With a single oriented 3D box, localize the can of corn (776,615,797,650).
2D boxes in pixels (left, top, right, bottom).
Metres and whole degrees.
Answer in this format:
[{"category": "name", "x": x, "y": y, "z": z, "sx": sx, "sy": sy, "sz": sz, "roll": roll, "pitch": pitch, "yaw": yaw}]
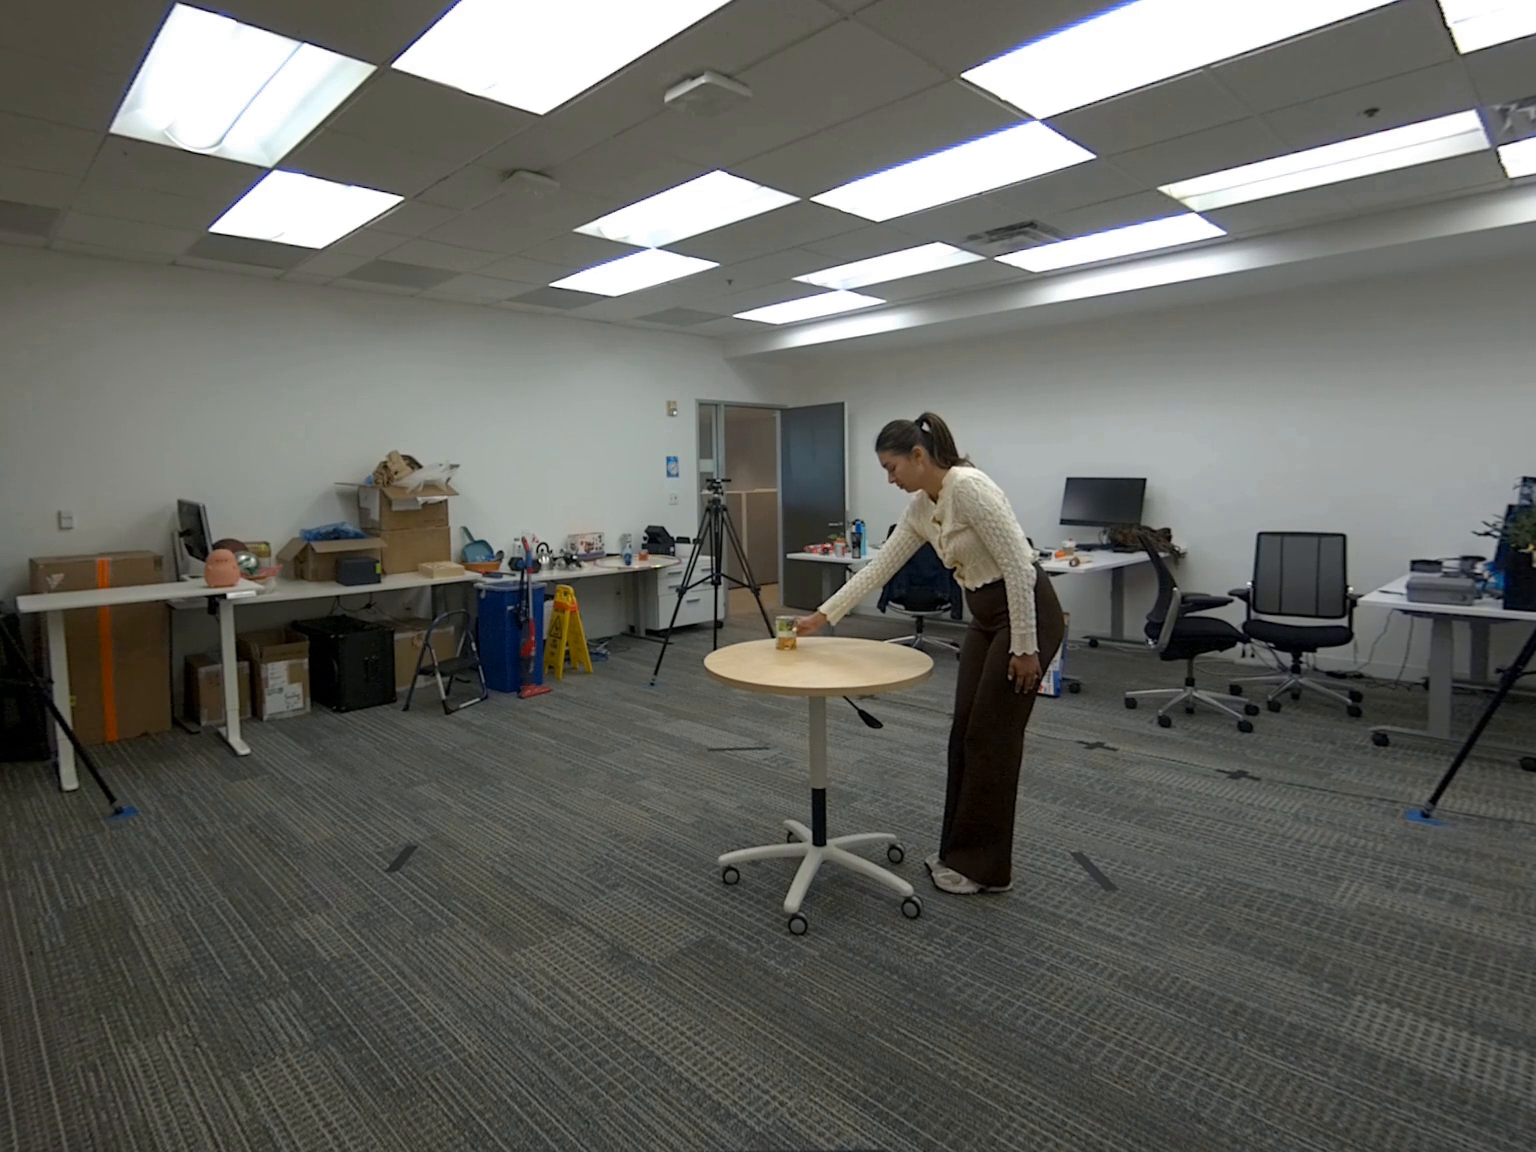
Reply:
[{"category": "can of corn", "x": 0.074, "y": 0.205, "z": 3.073, "sx": 0.074, "sy": 0.111, "sz": 0.074, "roll": -1, "pitch": 3, "yaw": -2}]
